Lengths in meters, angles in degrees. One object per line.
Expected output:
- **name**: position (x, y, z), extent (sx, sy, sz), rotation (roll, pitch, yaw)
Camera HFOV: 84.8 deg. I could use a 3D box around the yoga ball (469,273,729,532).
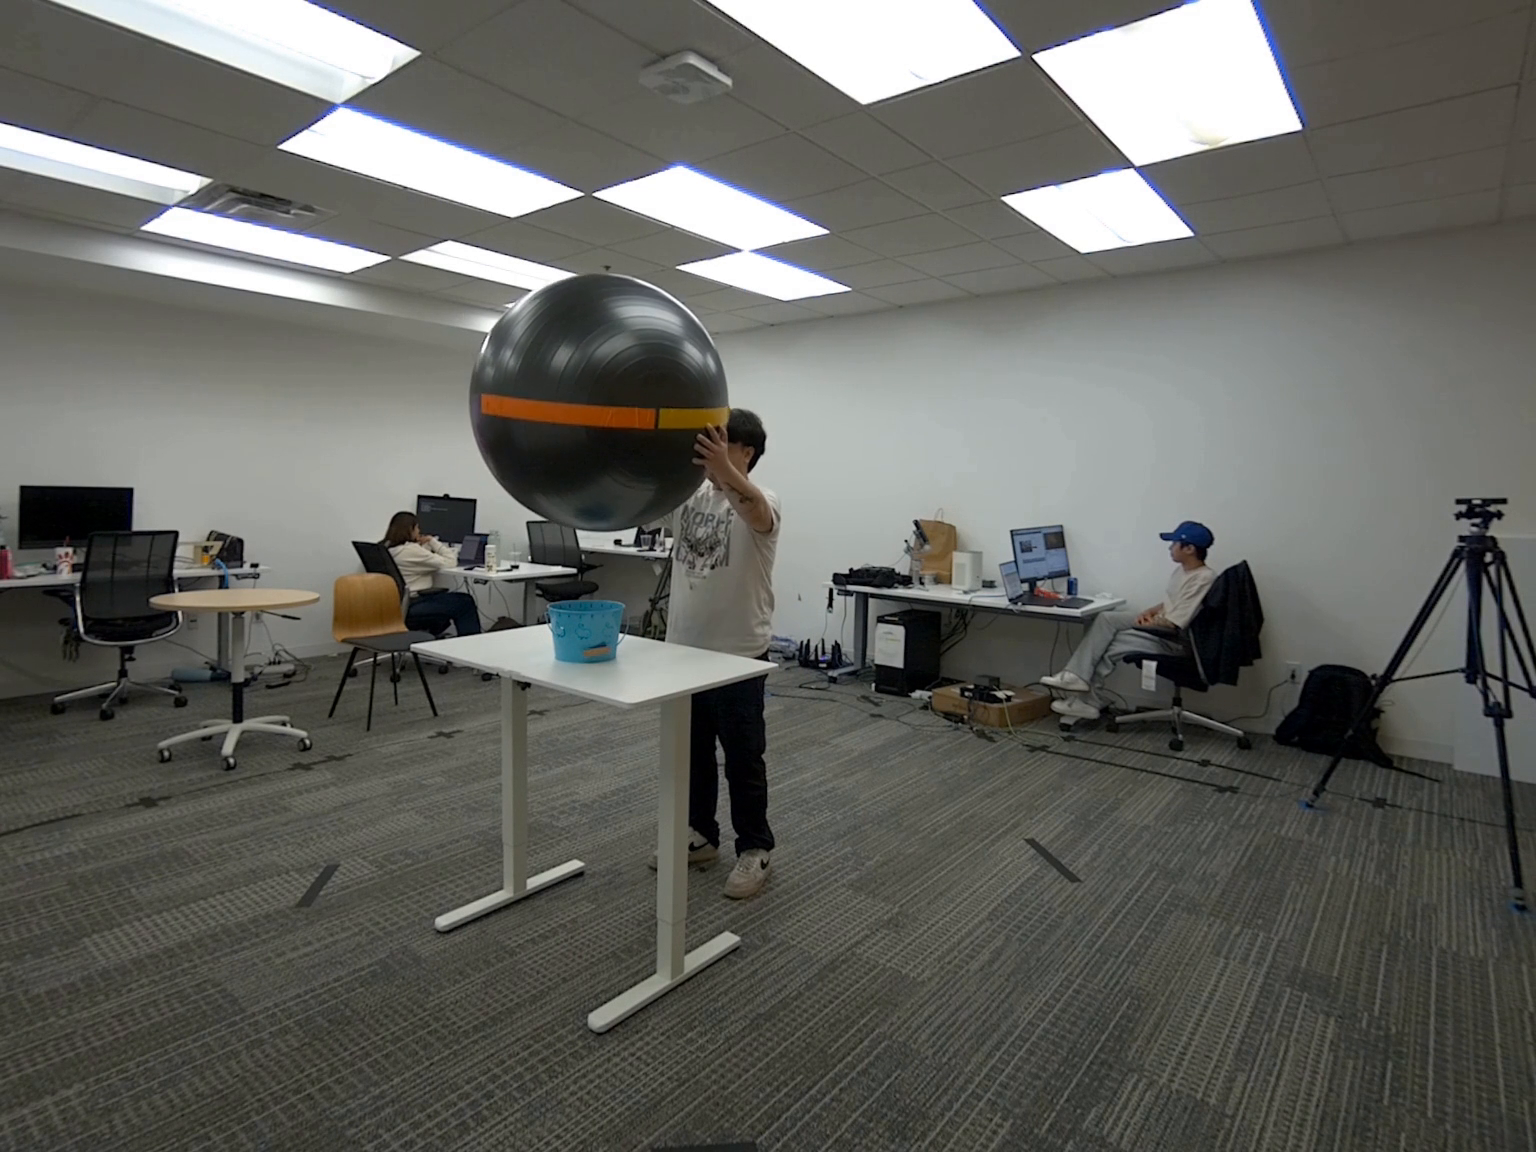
- **yoga ball**: position (-0.509, -0.501, 2.536), extent (0.757, 0.755, 0.762), rotation (1, 4, -2)
